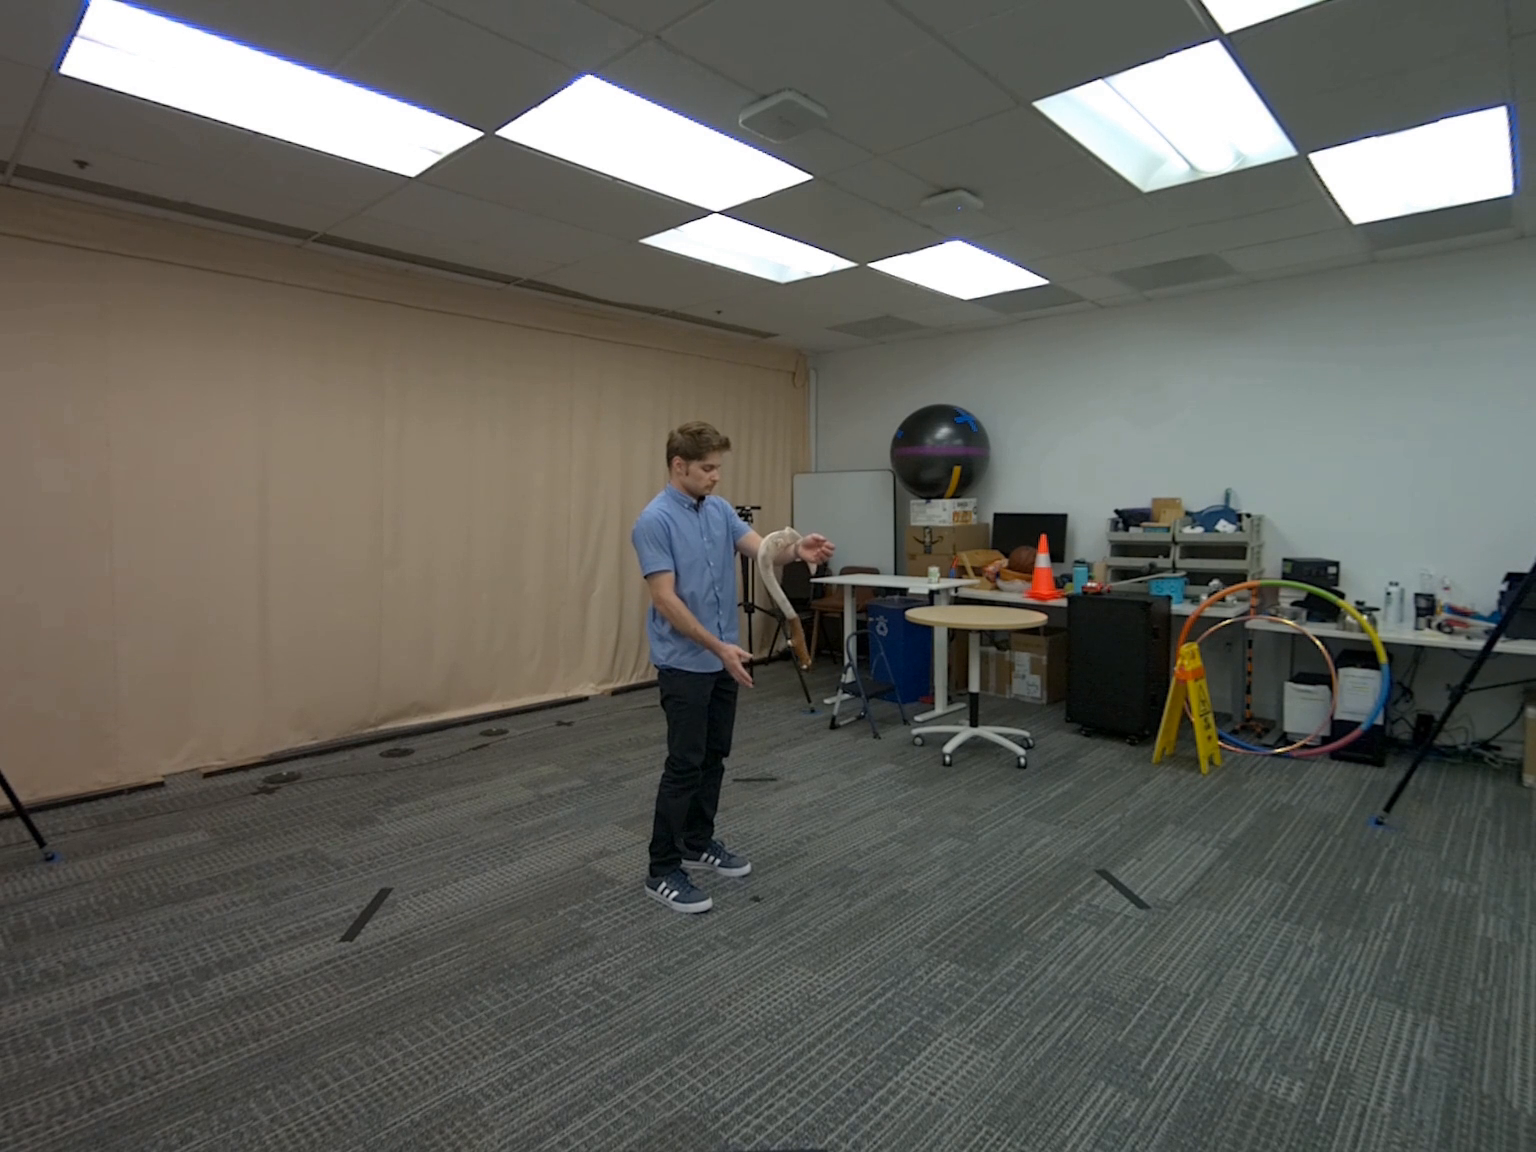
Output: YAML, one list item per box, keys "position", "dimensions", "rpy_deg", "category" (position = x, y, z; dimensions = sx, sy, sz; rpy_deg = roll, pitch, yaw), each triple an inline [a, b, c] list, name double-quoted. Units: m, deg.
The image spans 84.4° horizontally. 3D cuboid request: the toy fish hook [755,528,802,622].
- position: [0.114, 0.083, 3.006]
  dimensions: [0.222, 0.502, 0.049]
  rpy_deg: [-19, 9, -14]
  category: "toy fish hook"
